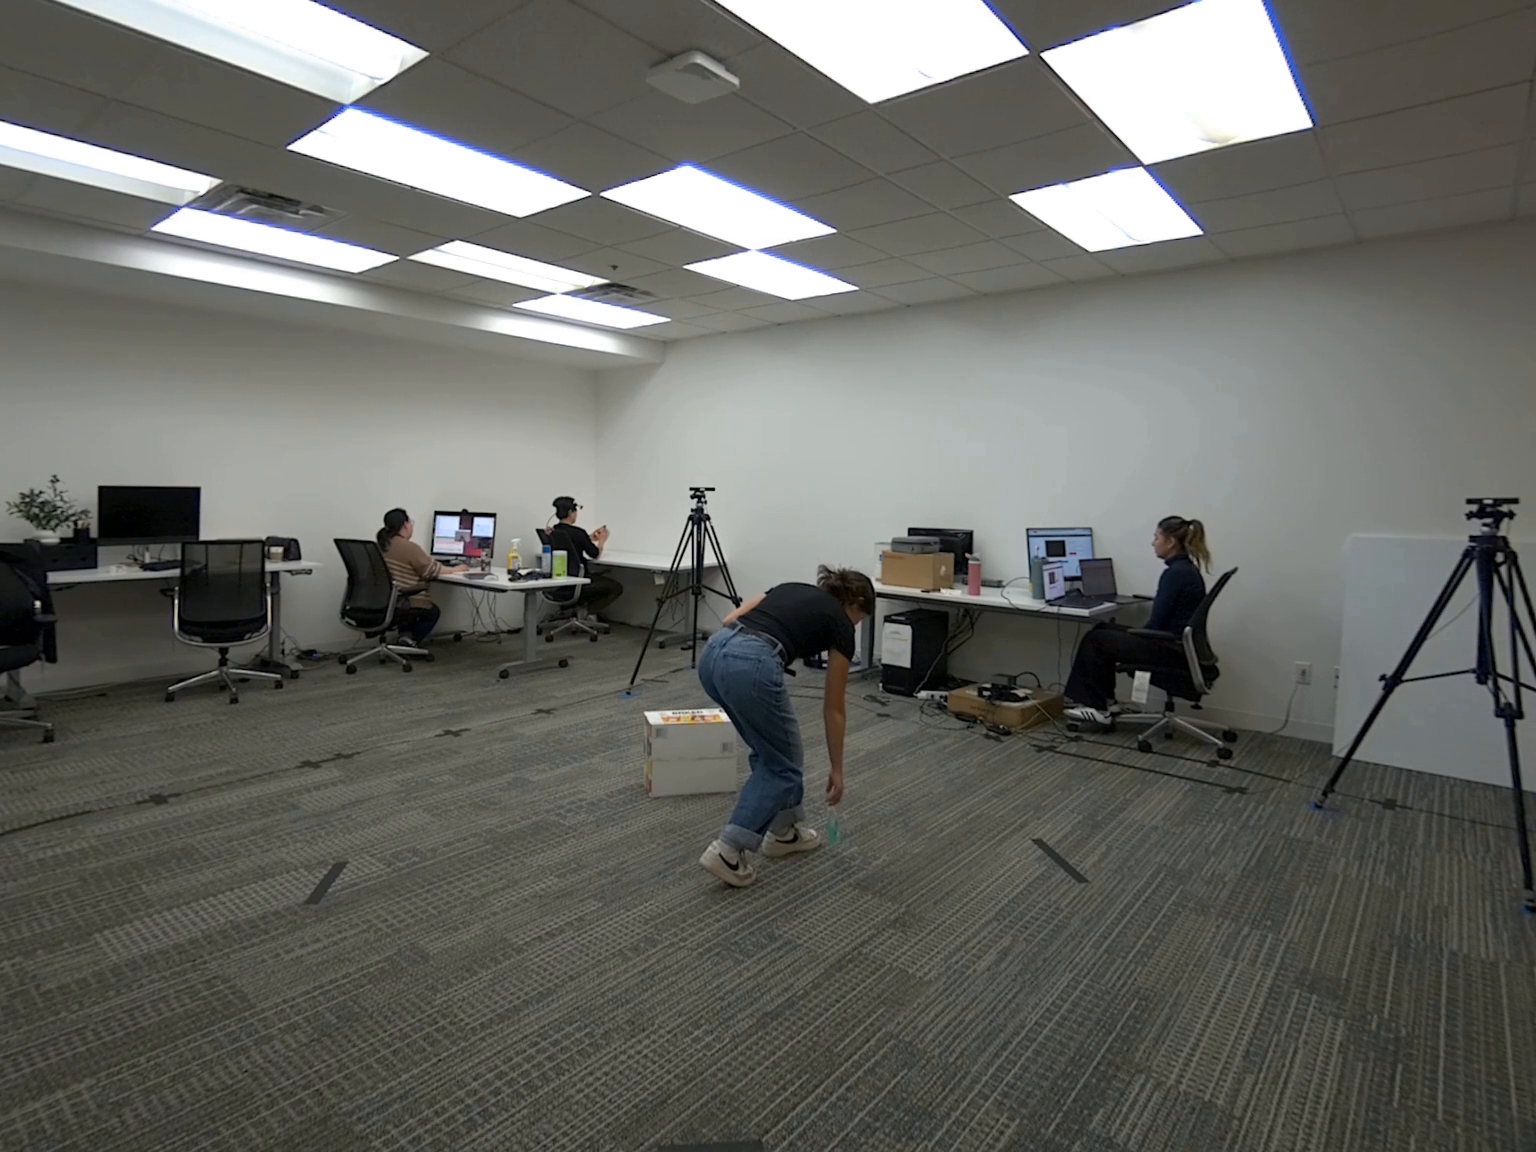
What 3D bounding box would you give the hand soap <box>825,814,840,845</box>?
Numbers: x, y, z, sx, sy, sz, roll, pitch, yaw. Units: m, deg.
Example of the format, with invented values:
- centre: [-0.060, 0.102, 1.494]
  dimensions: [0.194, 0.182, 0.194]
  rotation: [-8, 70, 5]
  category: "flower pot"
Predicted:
- centre: [0.236, 0.931, 3.238]
  dimensions: [0.044, 0.168, 0.084]
  rotation: [-6, 2, 7]
  category: "hand soap"
